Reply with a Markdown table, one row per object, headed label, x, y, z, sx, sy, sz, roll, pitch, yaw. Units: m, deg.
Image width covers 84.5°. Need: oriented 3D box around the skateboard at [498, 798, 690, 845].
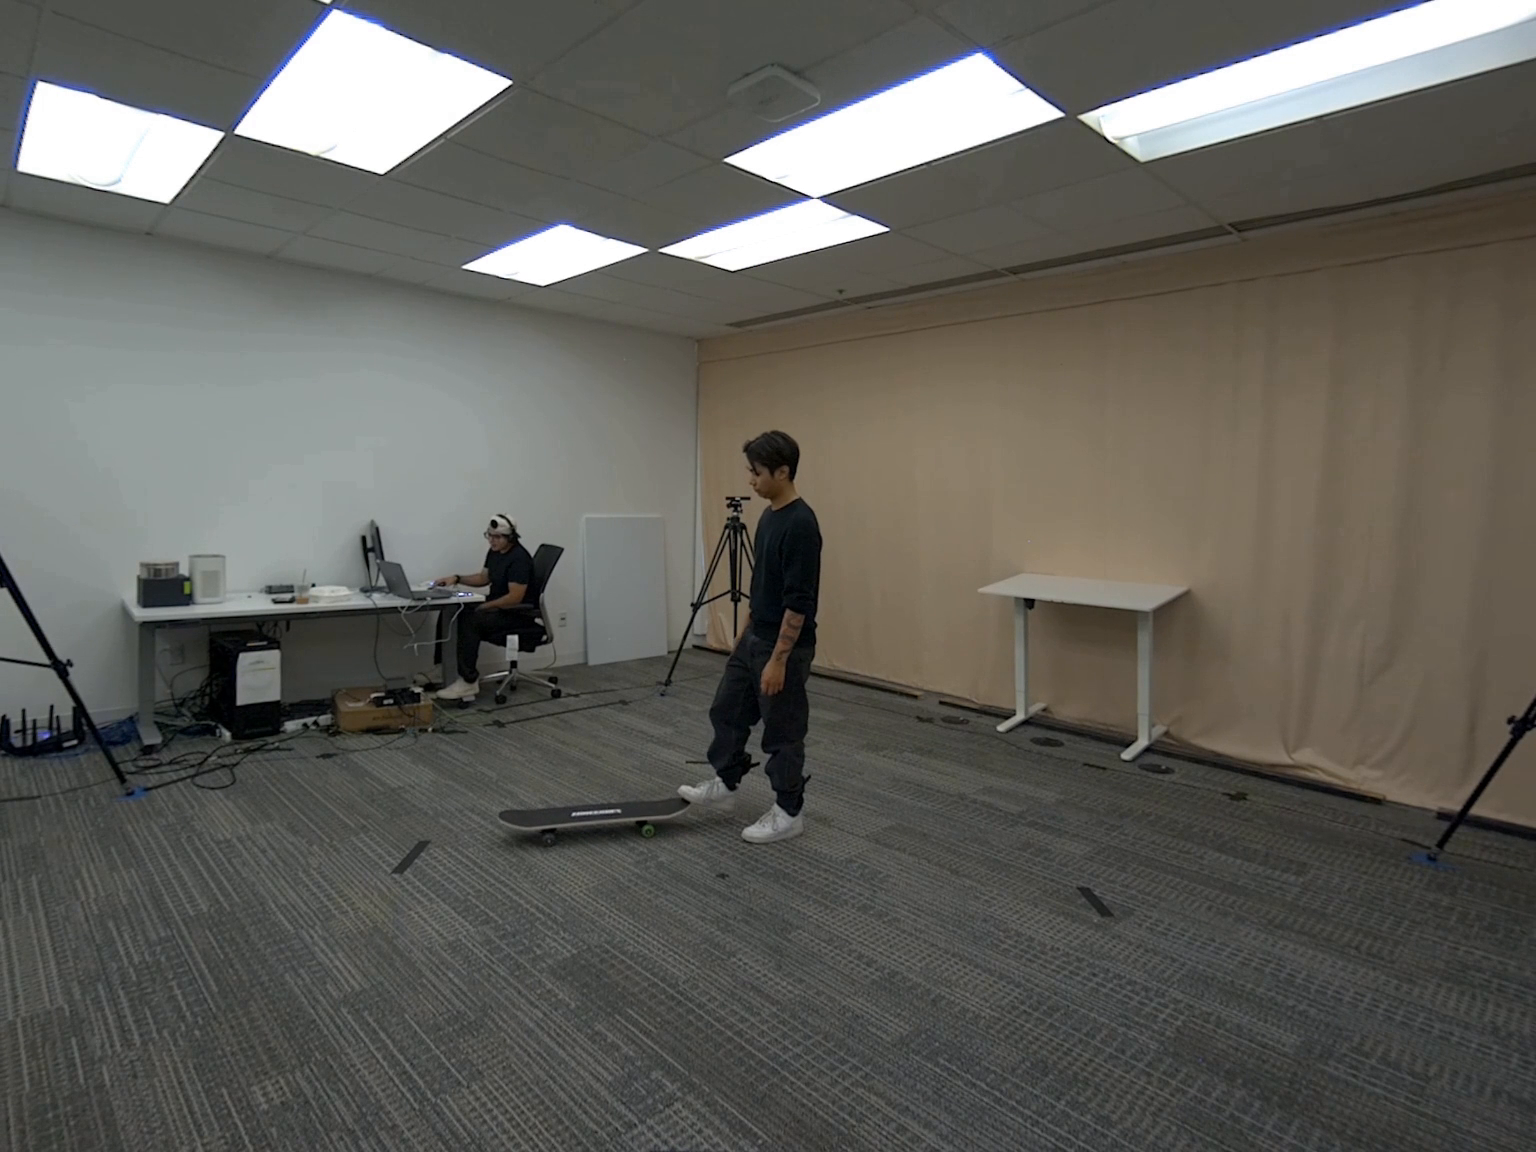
| label | x | y | z | sx | sy | sz | roll | pitch | yaw |
| --- | --- | --- | --- | --- | --- | --- | --- | --- | --- |
| skateboard | -0.710 | 1.004 | 3.463 | 0.775 | 0.110 | 0.196 | 0 | 5 | -17 |
